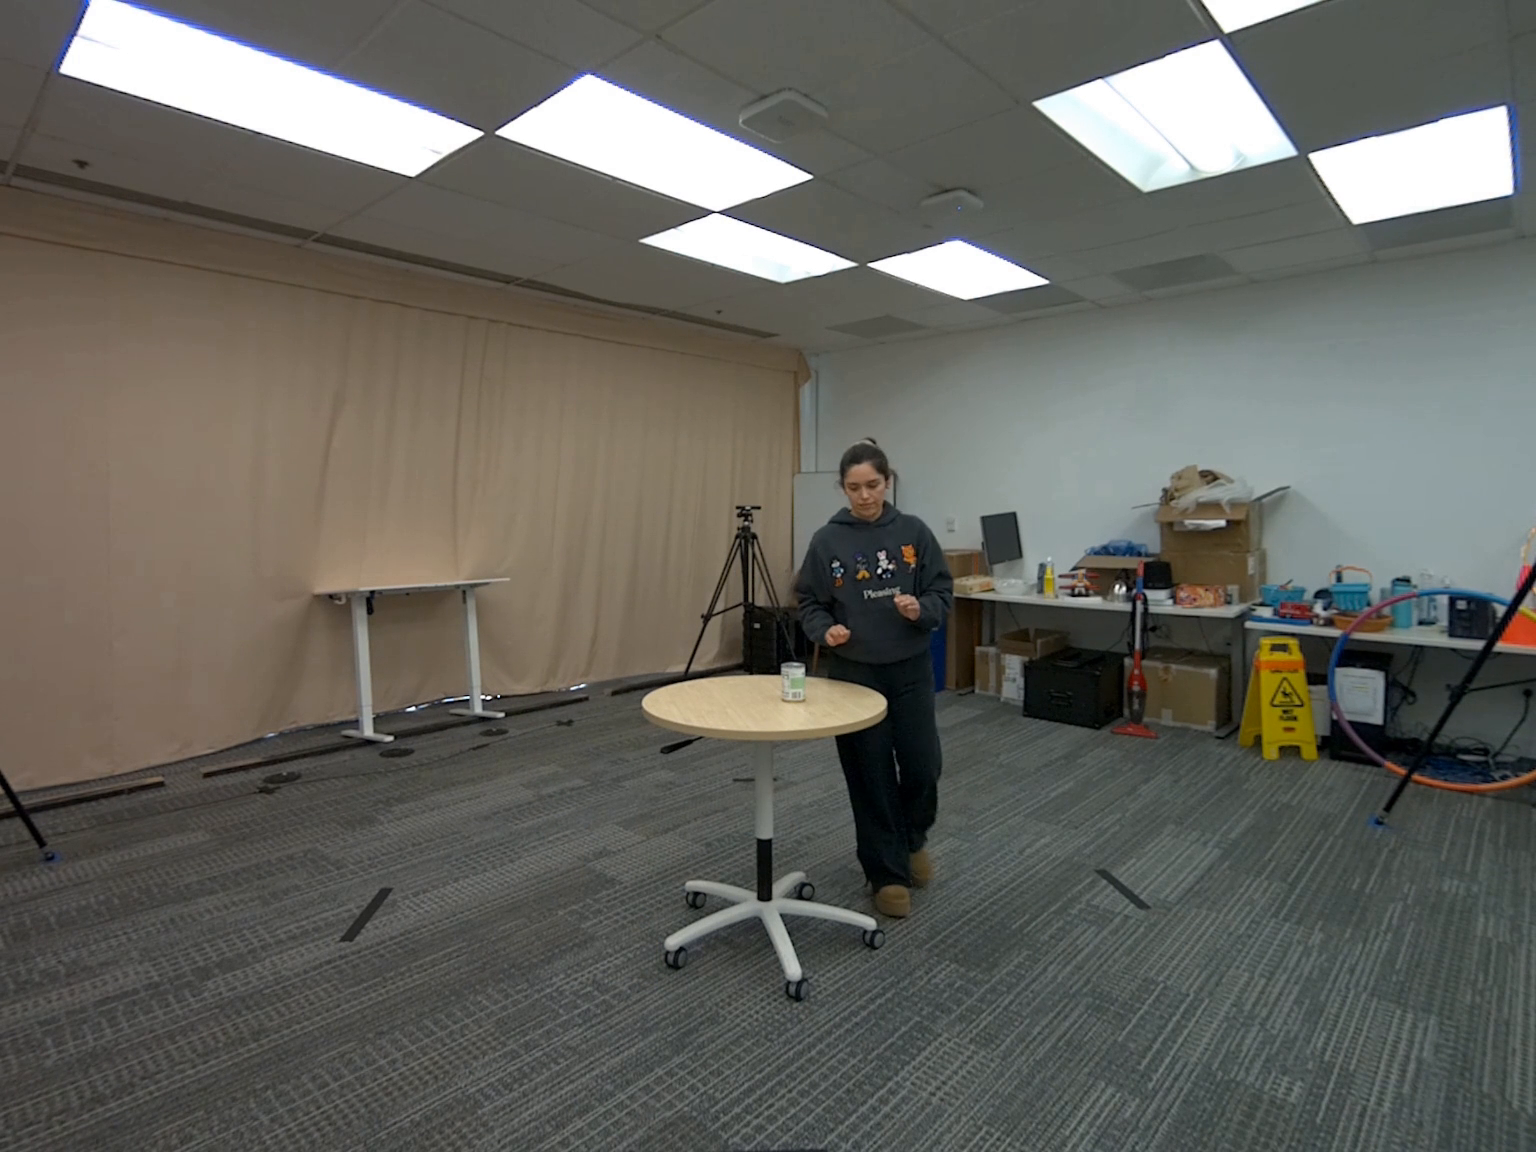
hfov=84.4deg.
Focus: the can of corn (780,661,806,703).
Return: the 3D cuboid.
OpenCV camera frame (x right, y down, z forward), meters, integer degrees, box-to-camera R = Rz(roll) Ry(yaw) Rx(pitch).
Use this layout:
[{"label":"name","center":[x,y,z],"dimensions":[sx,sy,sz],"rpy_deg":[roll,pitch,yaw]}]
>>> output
[{"label":"can of corn","center":[0.095,0.332,2.619],"dimensions":[0.074,0.111,0.074],"rpy_deg":[0,5,-2]}]
